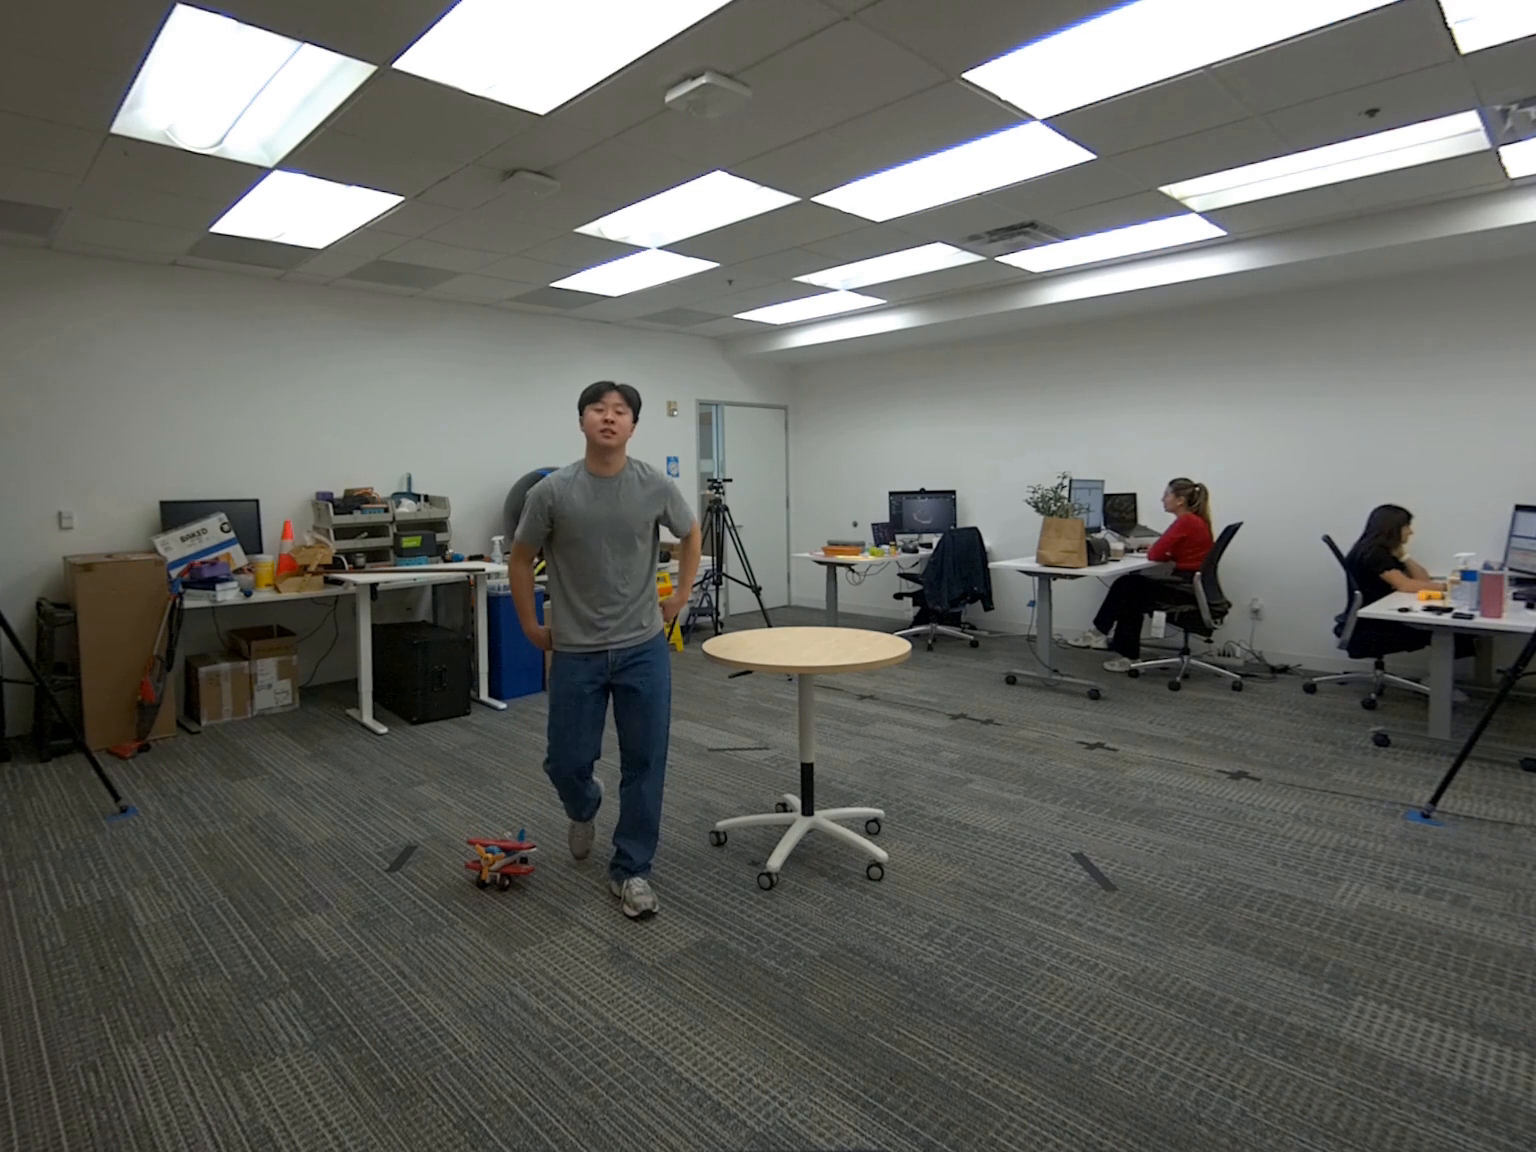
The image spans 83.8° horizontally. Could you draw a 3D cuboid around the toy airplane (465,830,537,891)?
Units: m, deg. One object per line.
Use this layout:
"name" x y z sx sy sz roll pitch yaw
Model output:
"toy airplane" -0.949 1.001 3.038 0.248 0.155 0.264 -4 7 -13
